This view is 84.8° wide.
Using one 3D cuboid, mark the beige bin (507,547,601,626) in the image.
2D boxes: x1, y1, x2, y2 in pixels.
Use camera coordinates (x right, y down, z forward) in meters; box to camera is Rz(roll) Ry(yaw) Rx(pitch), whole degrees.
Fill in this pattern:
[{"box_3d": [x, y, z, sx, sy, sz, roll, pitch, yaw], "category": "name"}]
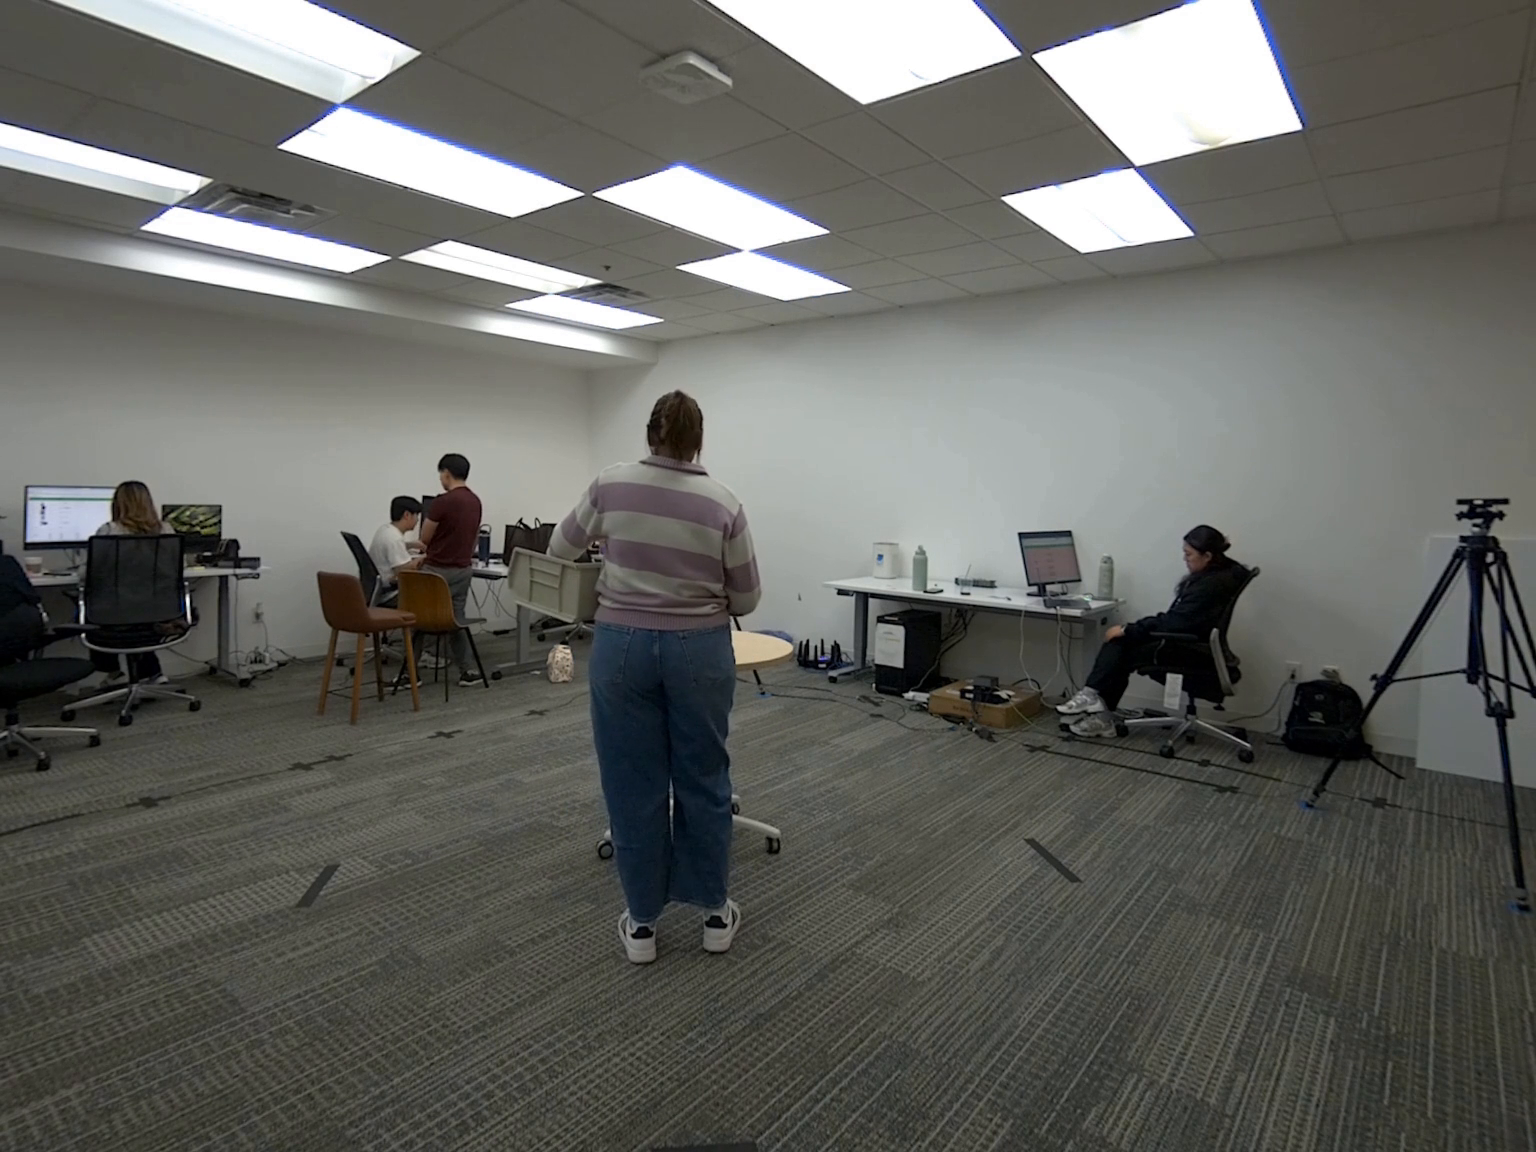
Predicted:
[{"box_3d": [-0.566, 0.005, 2.750, 0.392, 0.188, 0.409, 15, 11, 42], "category": "beige bin"}]
